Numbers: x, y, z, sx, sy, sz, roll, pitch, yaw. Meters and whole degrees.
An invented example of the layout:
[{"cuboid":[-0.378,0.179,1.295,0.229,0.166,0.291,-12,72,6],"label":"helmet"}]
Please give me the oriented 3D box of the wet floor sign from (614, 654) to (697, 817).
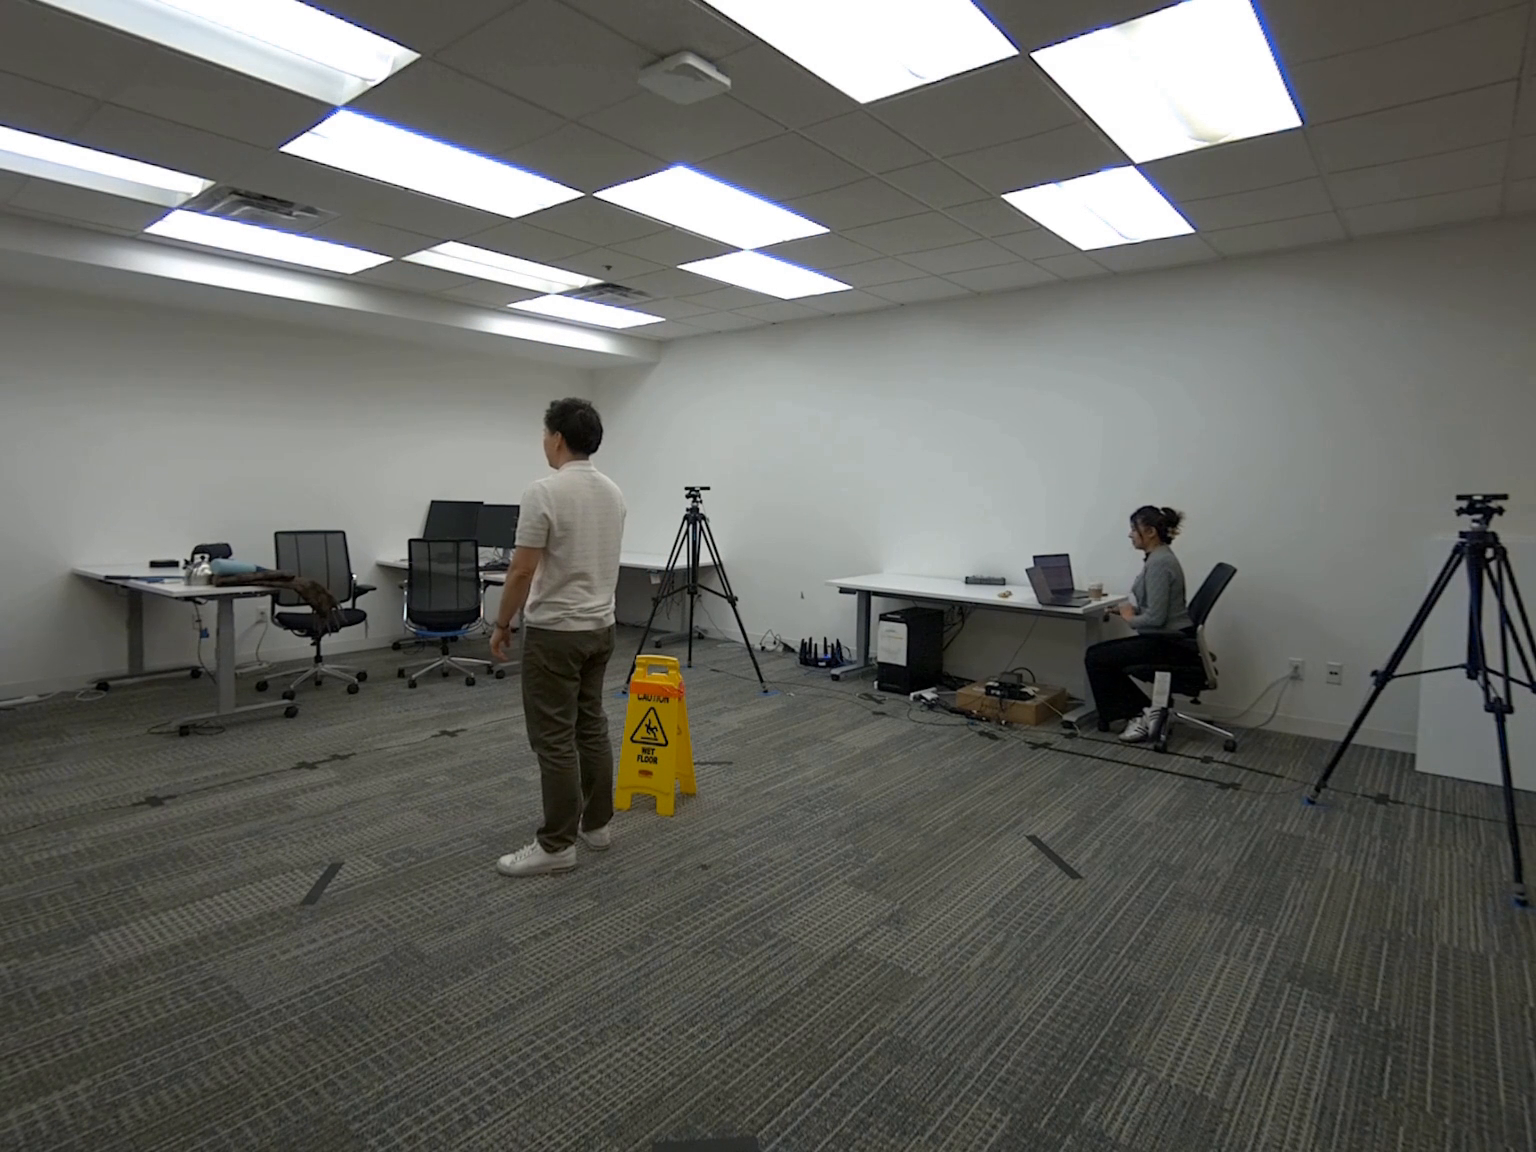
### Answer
[{"cuboid":[-0.509,0.675,3.762,0.288,0.644,0.285,1,3,18],"label":"wet floor sign"}]
